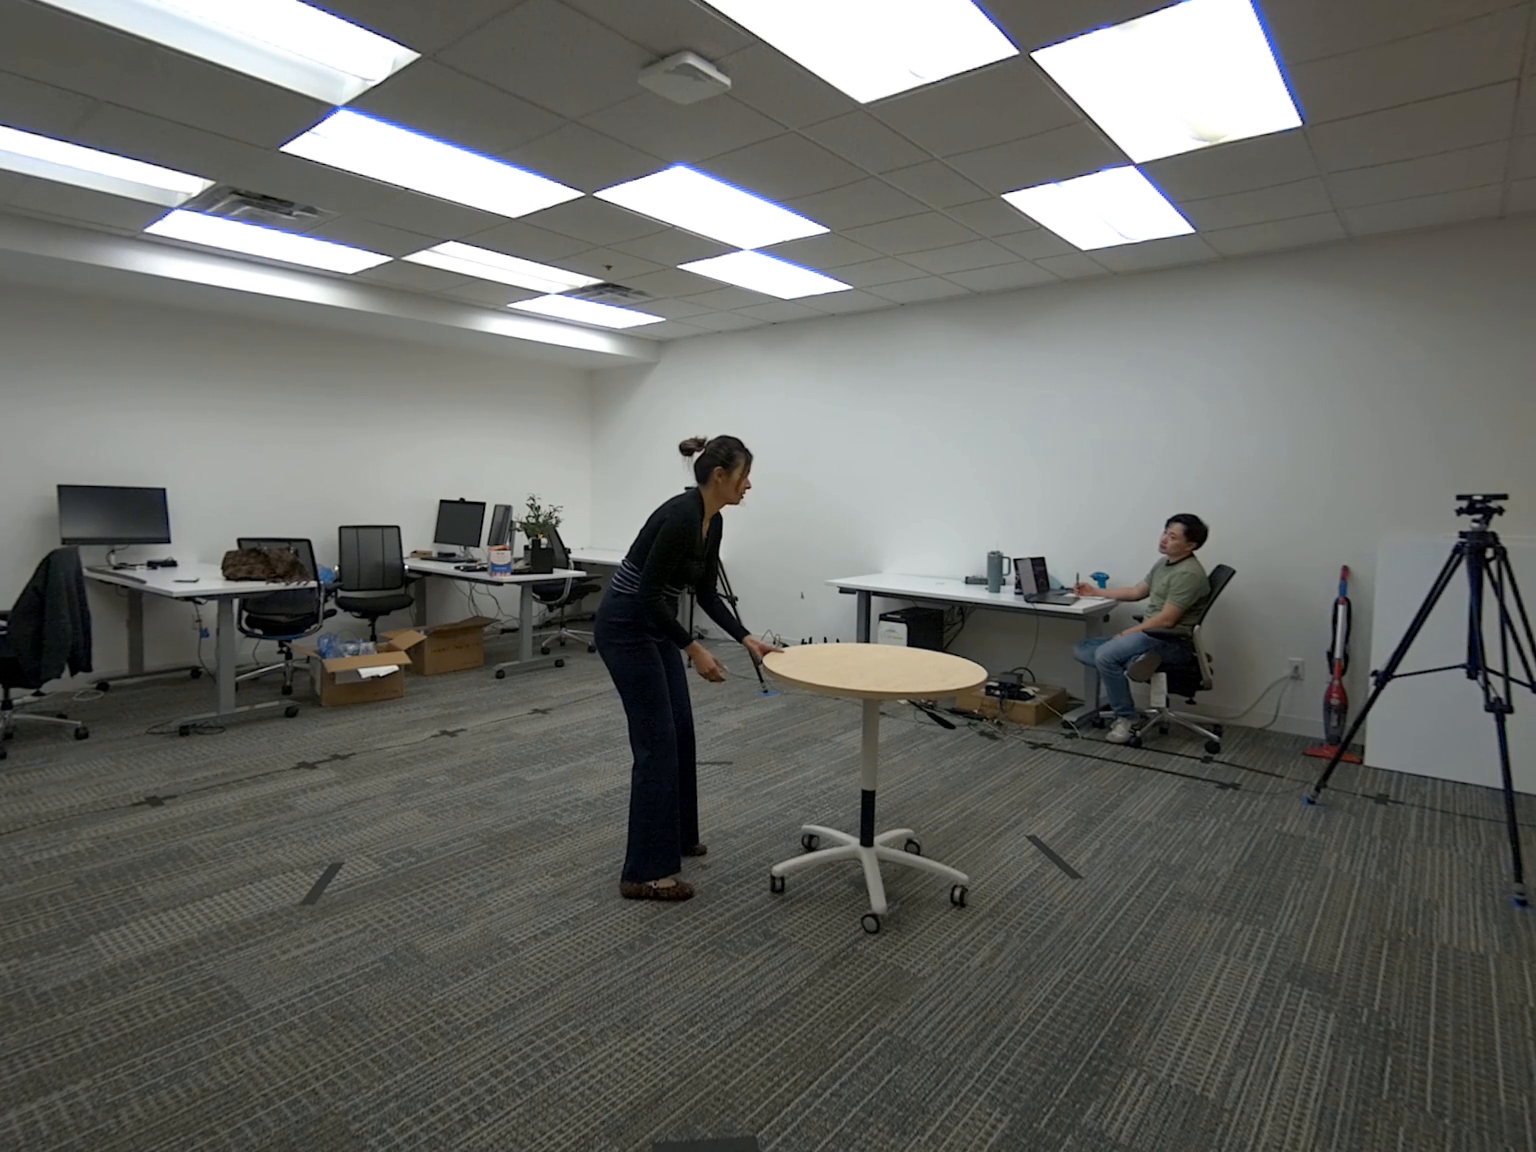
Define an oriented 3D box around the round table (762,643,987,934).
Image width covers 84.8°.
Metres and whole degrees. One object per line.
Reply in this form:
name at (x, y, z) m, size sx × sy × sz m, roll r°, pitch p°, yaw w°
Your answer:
round table at (0.342, 0.700, 2.985) m, size 0.763 × 0.791 × 0.768 m, roll 1°, pitch 5°, yaw -2°
